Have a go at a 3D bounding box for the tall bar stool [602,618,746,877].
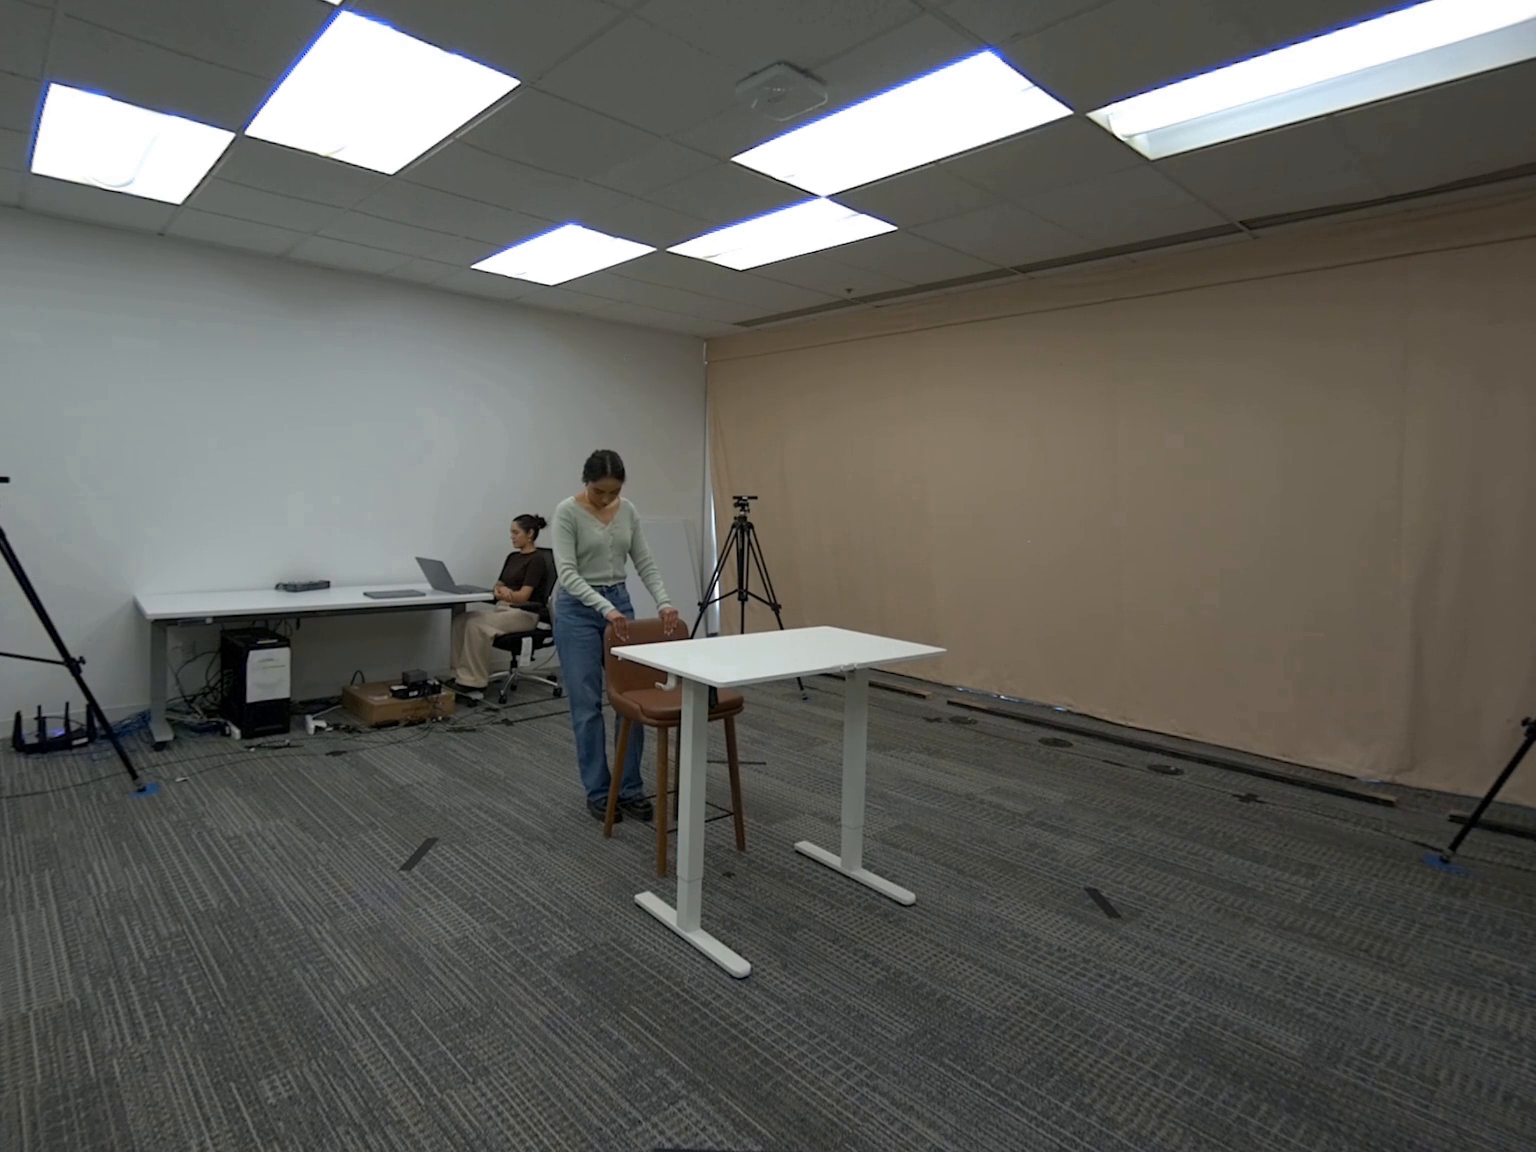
[{"bbox_3d":[-0.386,0.633,3.351,0.446,0.889,0.479,-1,2,-40],"label":"tall bar stool"}]
